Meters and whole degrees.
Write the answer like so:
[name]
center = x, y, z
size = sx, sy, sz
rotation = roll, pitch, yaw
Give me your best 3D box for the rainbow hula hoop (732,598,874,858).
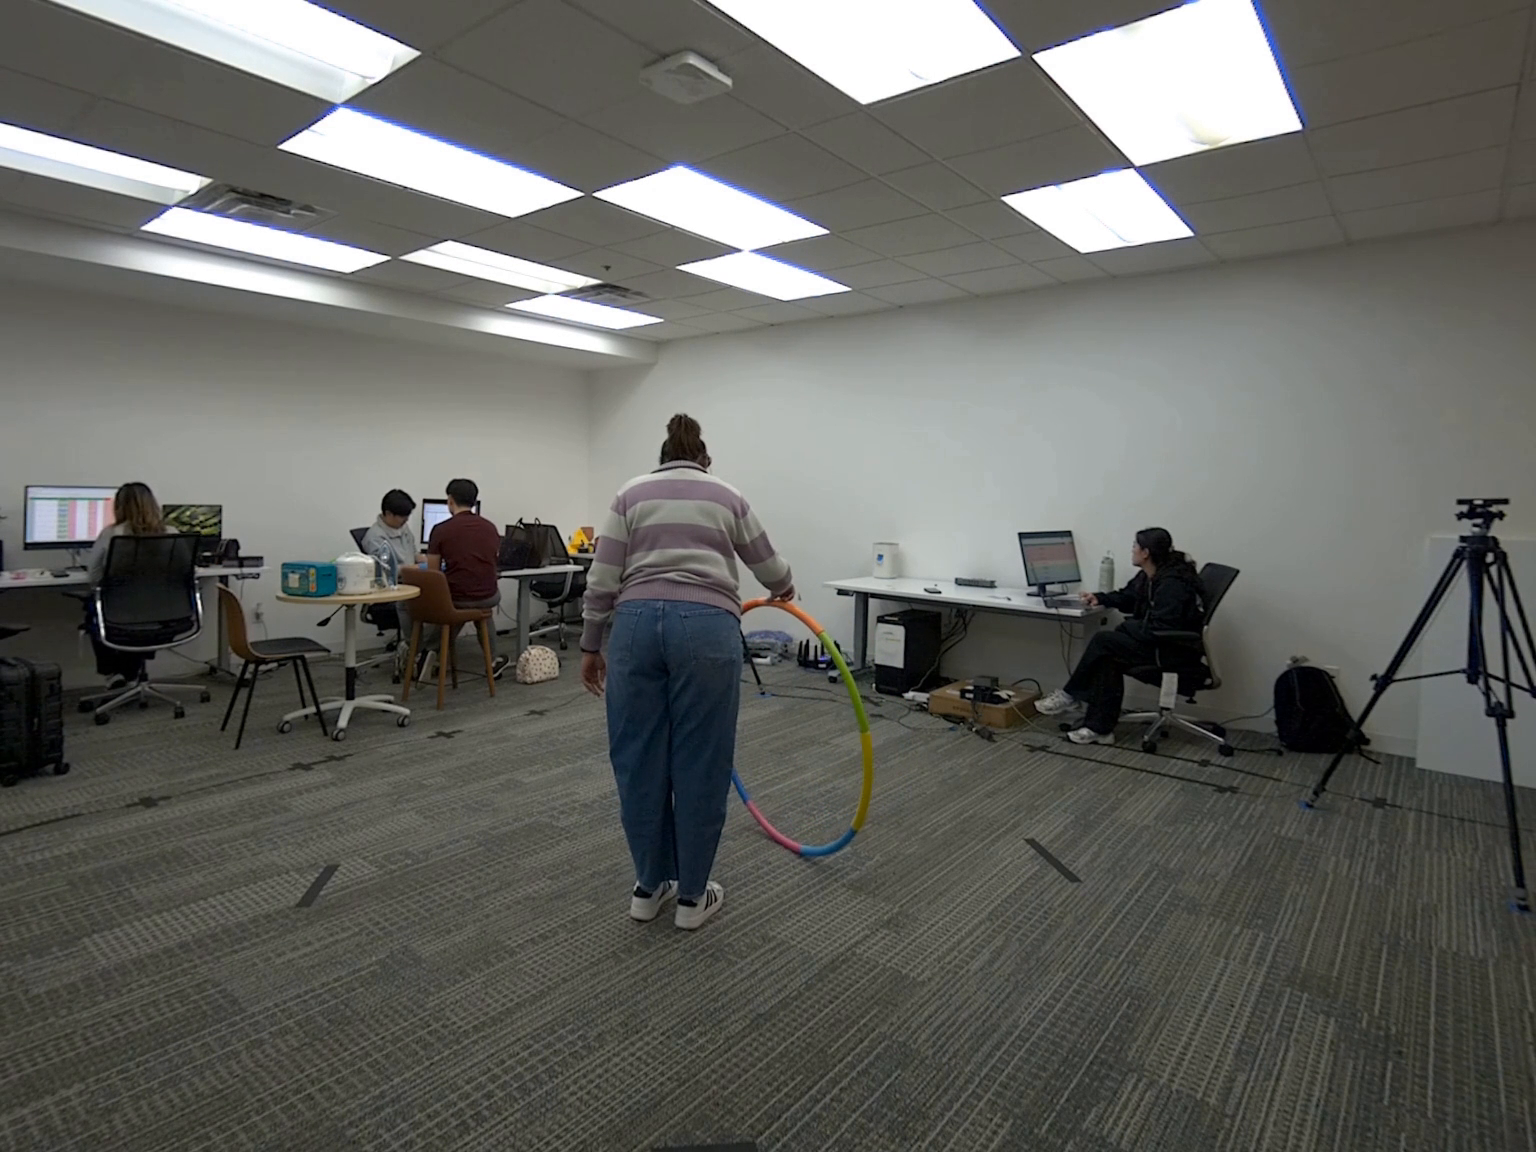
[rainbow hula hoop]
center = 0.045, 0.571, 3.271
size = 0.034, 0.972, 1.010
rotation = -8, 8, -34
